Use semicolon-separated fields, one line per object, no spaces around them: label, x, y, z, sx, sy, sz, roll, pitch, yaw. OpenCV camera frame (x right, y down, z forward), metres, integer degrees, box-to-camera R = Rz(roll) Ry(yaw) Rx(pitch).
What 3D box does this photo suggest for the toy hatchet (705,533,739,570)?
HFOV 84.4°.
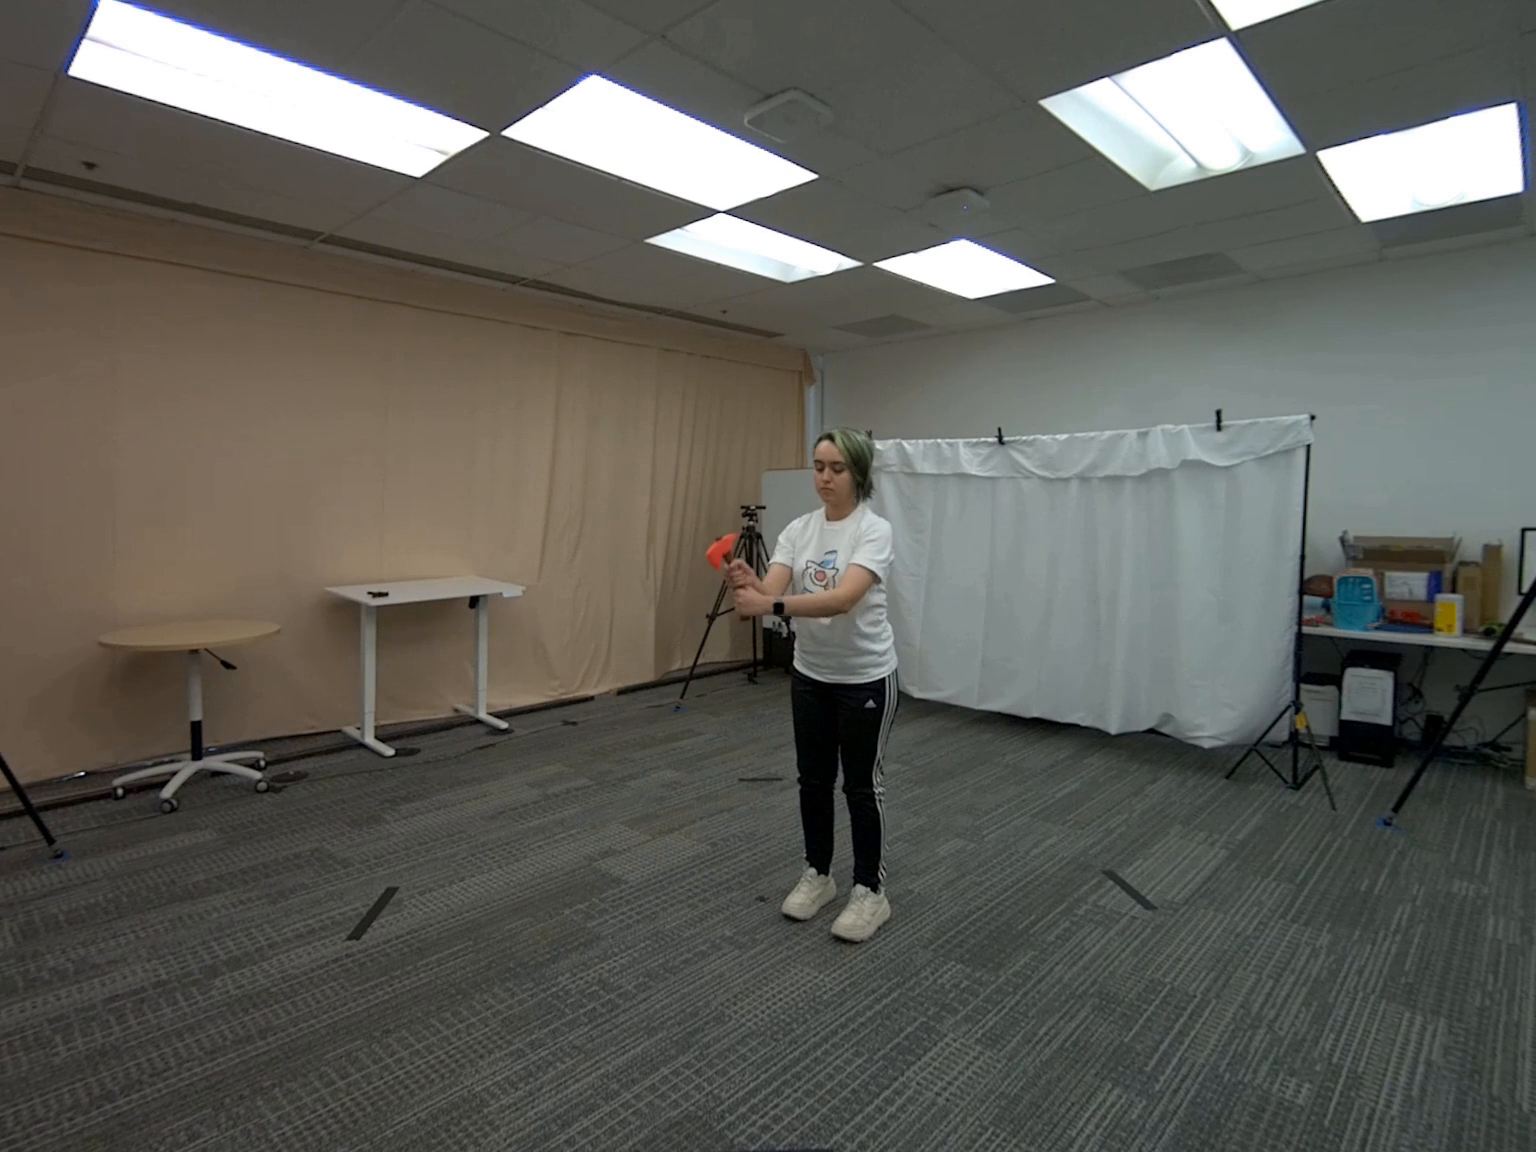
toy hatchet;-0.104;0.010;2.490;0.128;0.269;0.030;-17;7;-38
